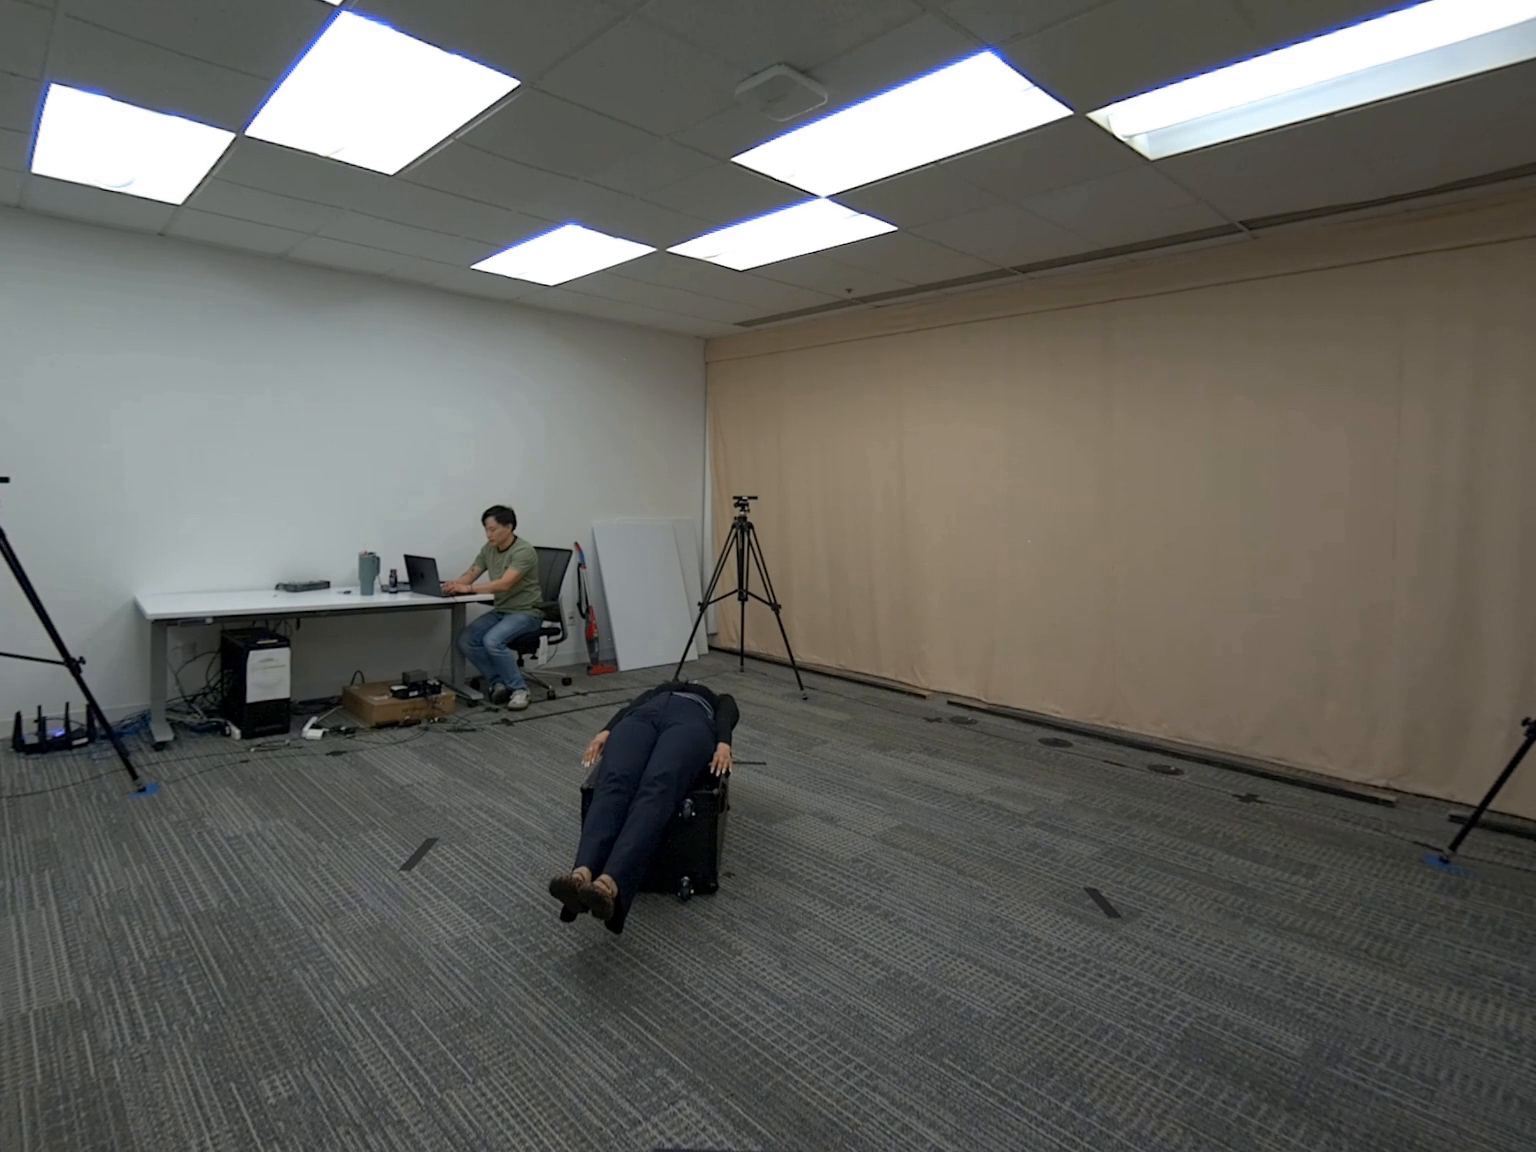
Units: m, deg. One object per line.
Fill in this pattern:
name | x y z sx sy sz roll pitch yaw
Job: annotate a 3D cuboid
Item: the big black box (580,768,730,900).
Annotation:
big black box | -0.420 0.886 3.271 0.522 0.395 0.863 2 4 0
